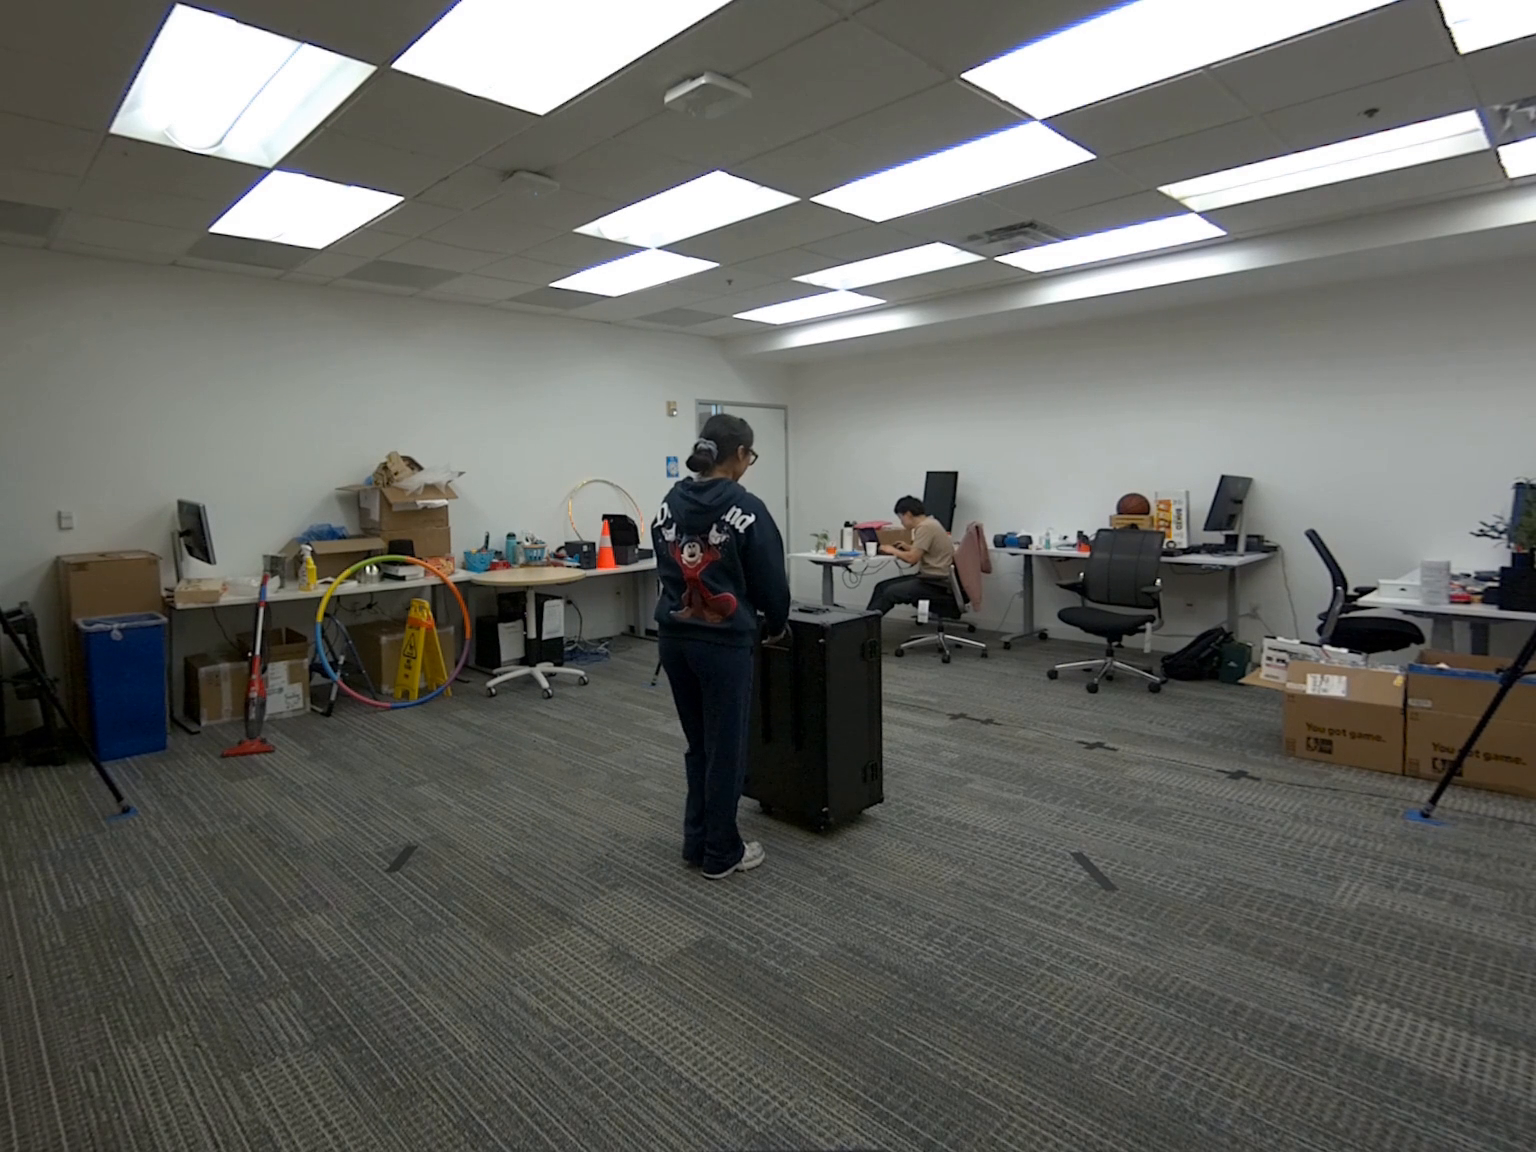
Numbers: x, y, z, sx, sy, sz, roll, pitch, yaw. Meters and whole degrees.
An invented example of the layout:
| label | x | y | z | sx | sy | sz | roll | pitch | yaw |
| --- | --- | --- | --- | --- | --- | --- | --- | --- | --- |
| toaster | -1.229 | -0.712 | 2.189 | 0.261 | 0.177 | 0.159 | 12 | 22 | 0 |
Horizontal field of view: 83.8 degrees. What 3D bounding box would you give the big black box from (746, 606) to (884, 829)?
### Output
| label | x | y | z | sx | sy | sz | roll | pitch | yaw |
| --- | --- | --- | --- | --- | --- | --- | --- | --- | --- |
| big black box | 0.172 | 0.575 | 3.511 | 0.537 | 0.857 | 0.386 | 4 | 8 | 45 |
